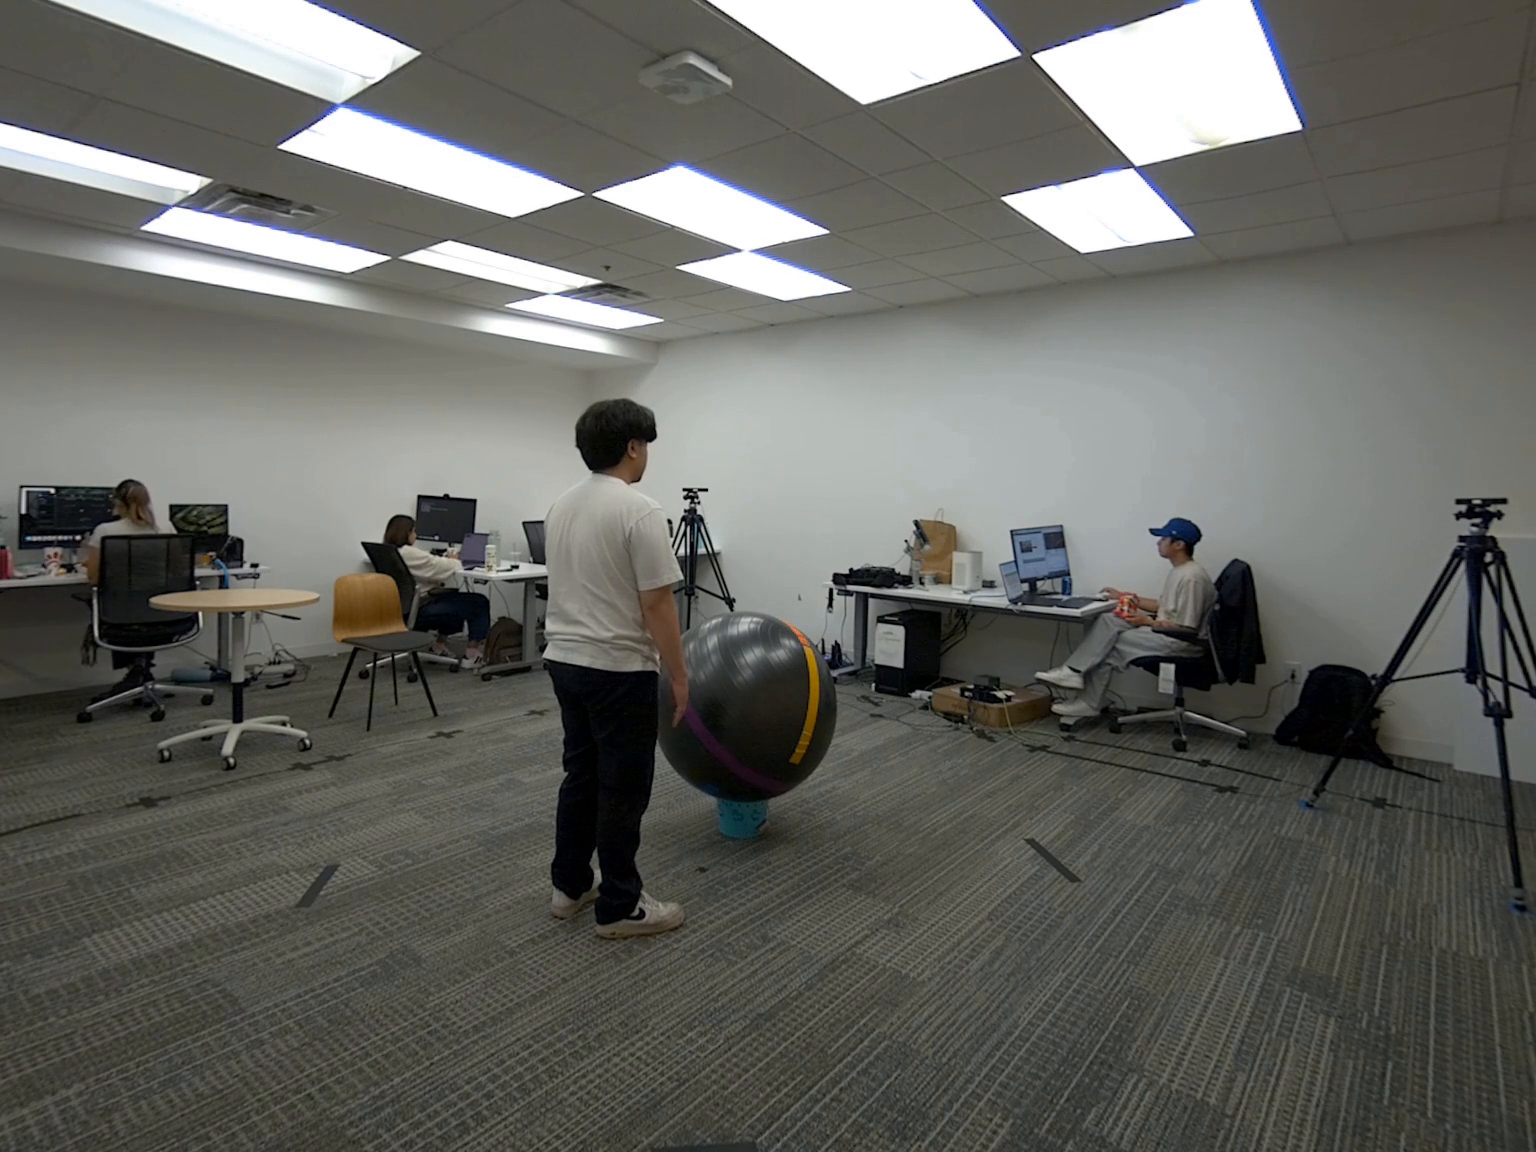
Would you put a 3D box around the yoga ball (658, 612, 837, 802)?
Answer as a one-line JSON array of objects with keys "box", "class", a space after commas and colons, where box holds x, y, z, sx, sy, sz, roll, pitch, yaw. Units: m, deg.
[{"box": [-0.096, 0.525, 3.471, 0.757, 0.755, 0.762, 1, 4, -2], "class": "yoga ball"}]
